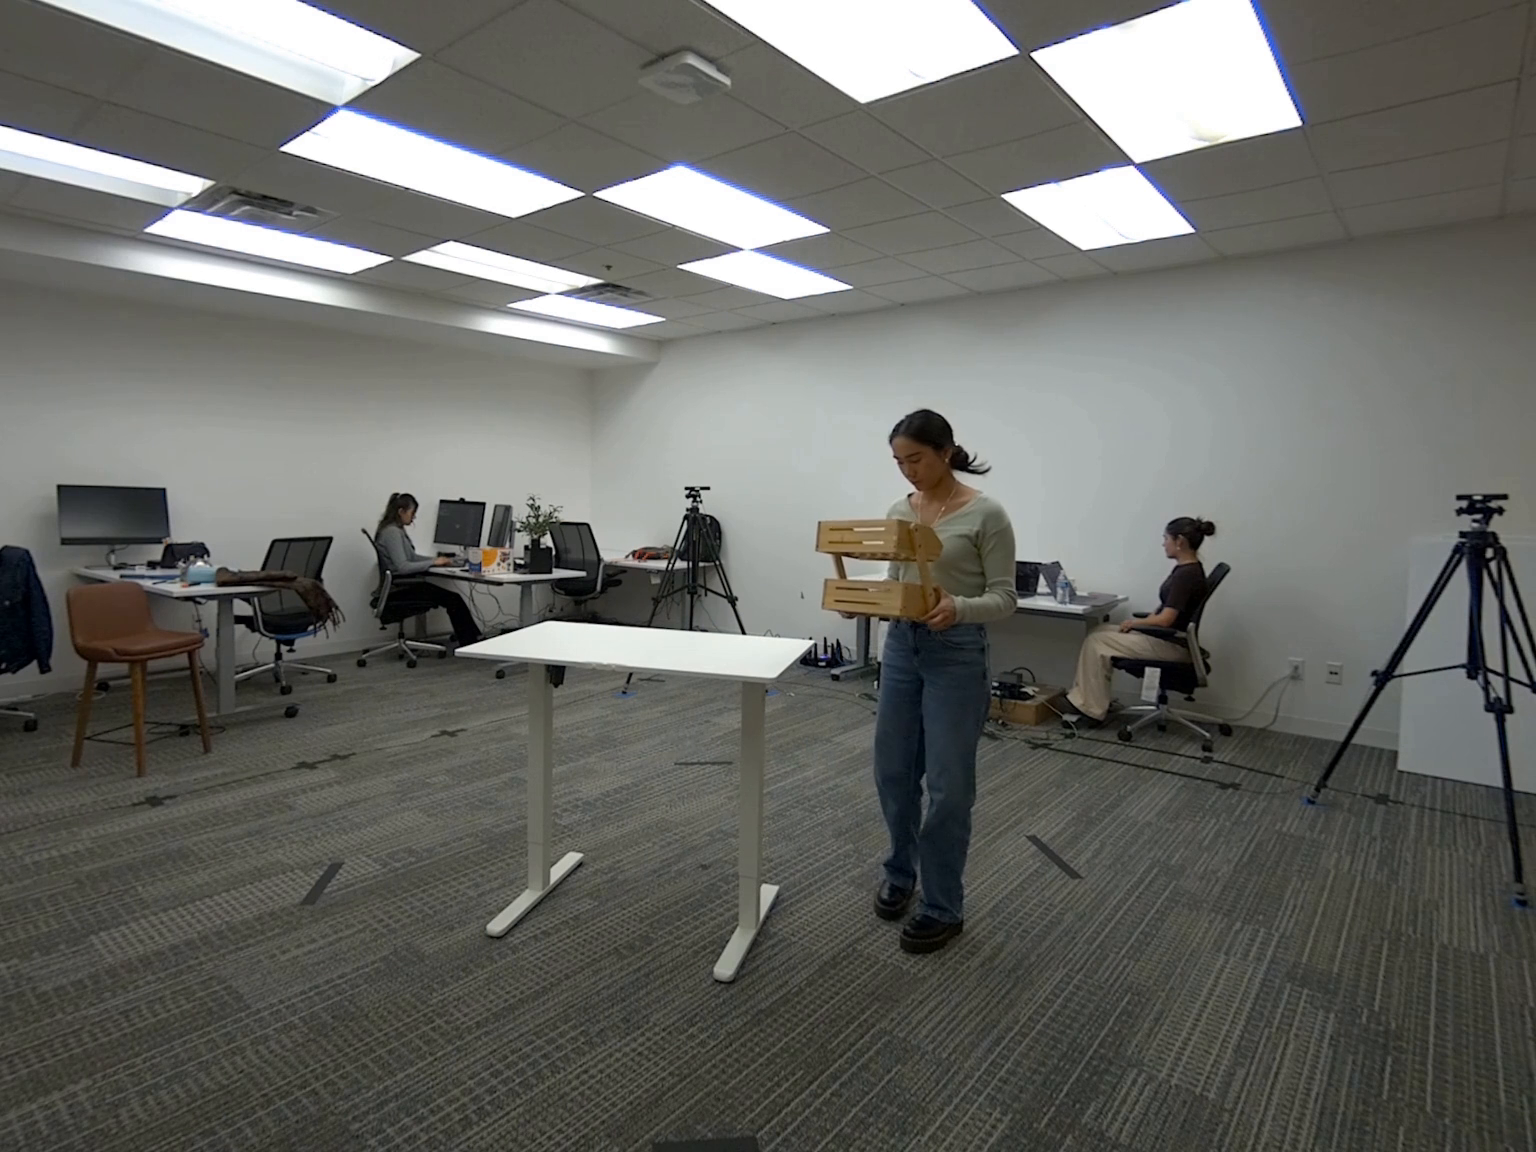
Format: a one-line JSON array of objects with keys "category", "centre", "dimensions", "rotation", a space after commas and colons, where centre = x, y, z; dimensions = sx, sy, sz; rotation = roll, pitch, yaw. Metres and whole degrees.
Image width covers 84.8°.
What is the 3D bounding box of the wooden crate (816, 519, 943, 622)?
[{"category": "wooden crate", "centre": [0.340, -0.020, 2.513], "dimensions": [0.291, 0.274, 0.335], "rotation": [9, -6, -41]}]
